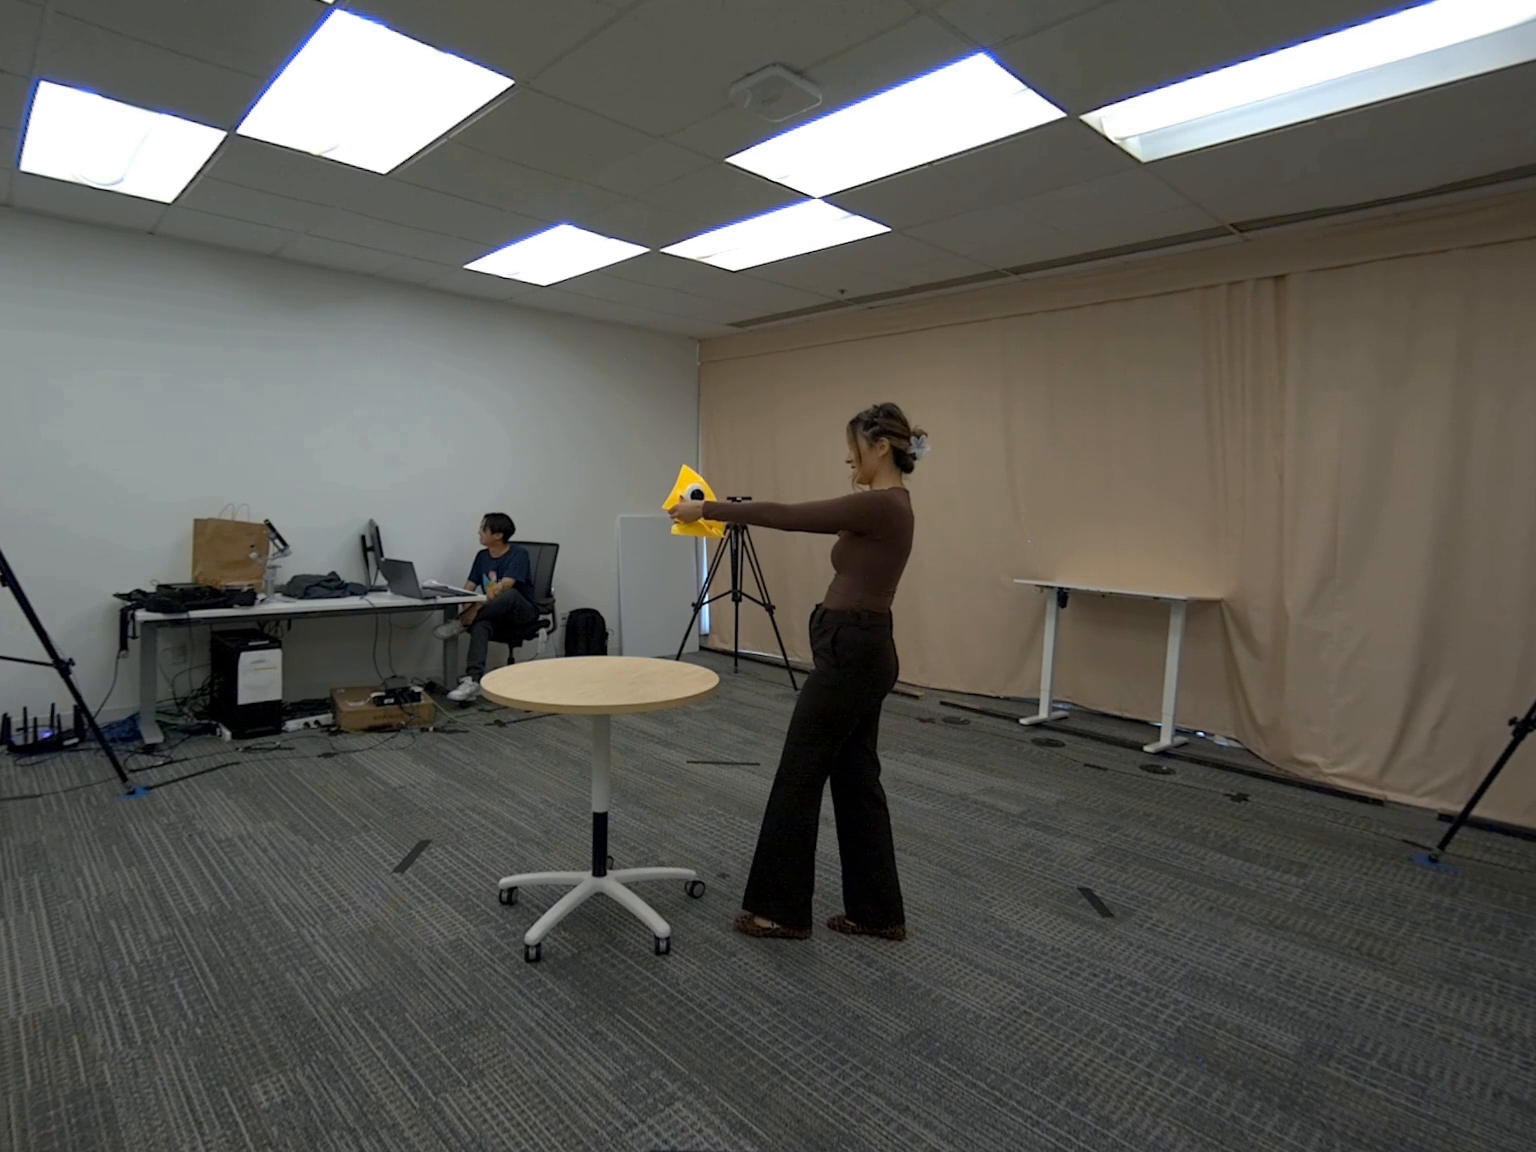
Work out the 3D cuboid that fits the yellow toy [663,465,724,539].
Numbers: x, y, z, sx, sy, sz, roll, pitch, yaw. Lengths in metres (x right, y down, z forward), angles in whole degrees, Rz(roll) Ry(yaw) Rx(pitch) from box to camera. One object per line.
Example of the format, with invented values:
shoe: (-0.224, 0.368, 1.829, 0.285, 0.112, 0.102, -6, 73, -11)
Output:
yellow toy: (-0.240, -0.252, 2.788, 0.195, 0.230, 0.203, 4, 2, 10)
